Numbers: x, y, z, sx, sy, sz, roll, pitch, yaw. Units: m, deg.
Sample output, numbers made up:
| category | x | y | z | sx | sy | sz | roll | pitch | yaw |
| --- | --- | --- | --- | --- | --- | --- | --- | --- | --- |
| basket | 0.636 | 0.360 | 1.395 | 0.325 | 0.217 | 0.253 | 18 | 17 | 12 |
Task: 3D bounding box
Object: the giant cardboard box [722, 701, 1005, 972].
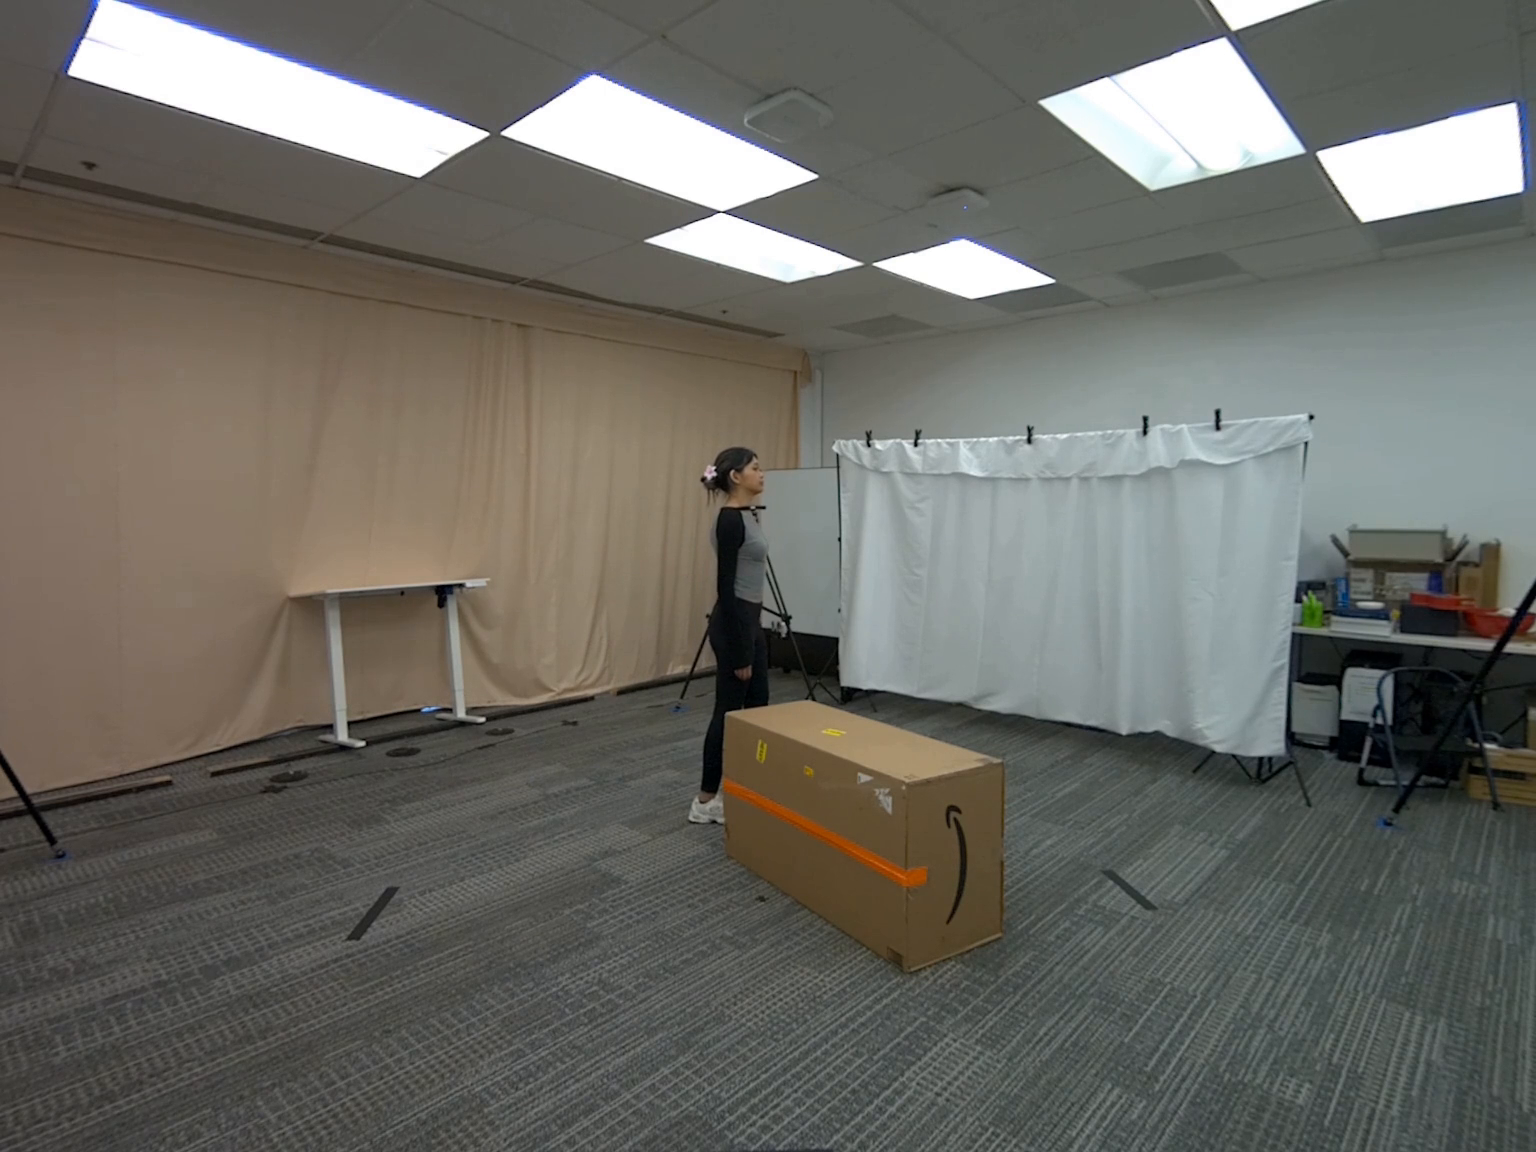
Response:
| category | x | y | z | sx | sy | sz | roll | pitch | yaw |
| --- | --- | --- | --- | --- | --- | --- | --- | --- | --- |
| giant cardboard box | 0.294 | 0.851 | 3.023 | 0.414 | 0.576 | 1.057 | -2 | 4 | -33 |
